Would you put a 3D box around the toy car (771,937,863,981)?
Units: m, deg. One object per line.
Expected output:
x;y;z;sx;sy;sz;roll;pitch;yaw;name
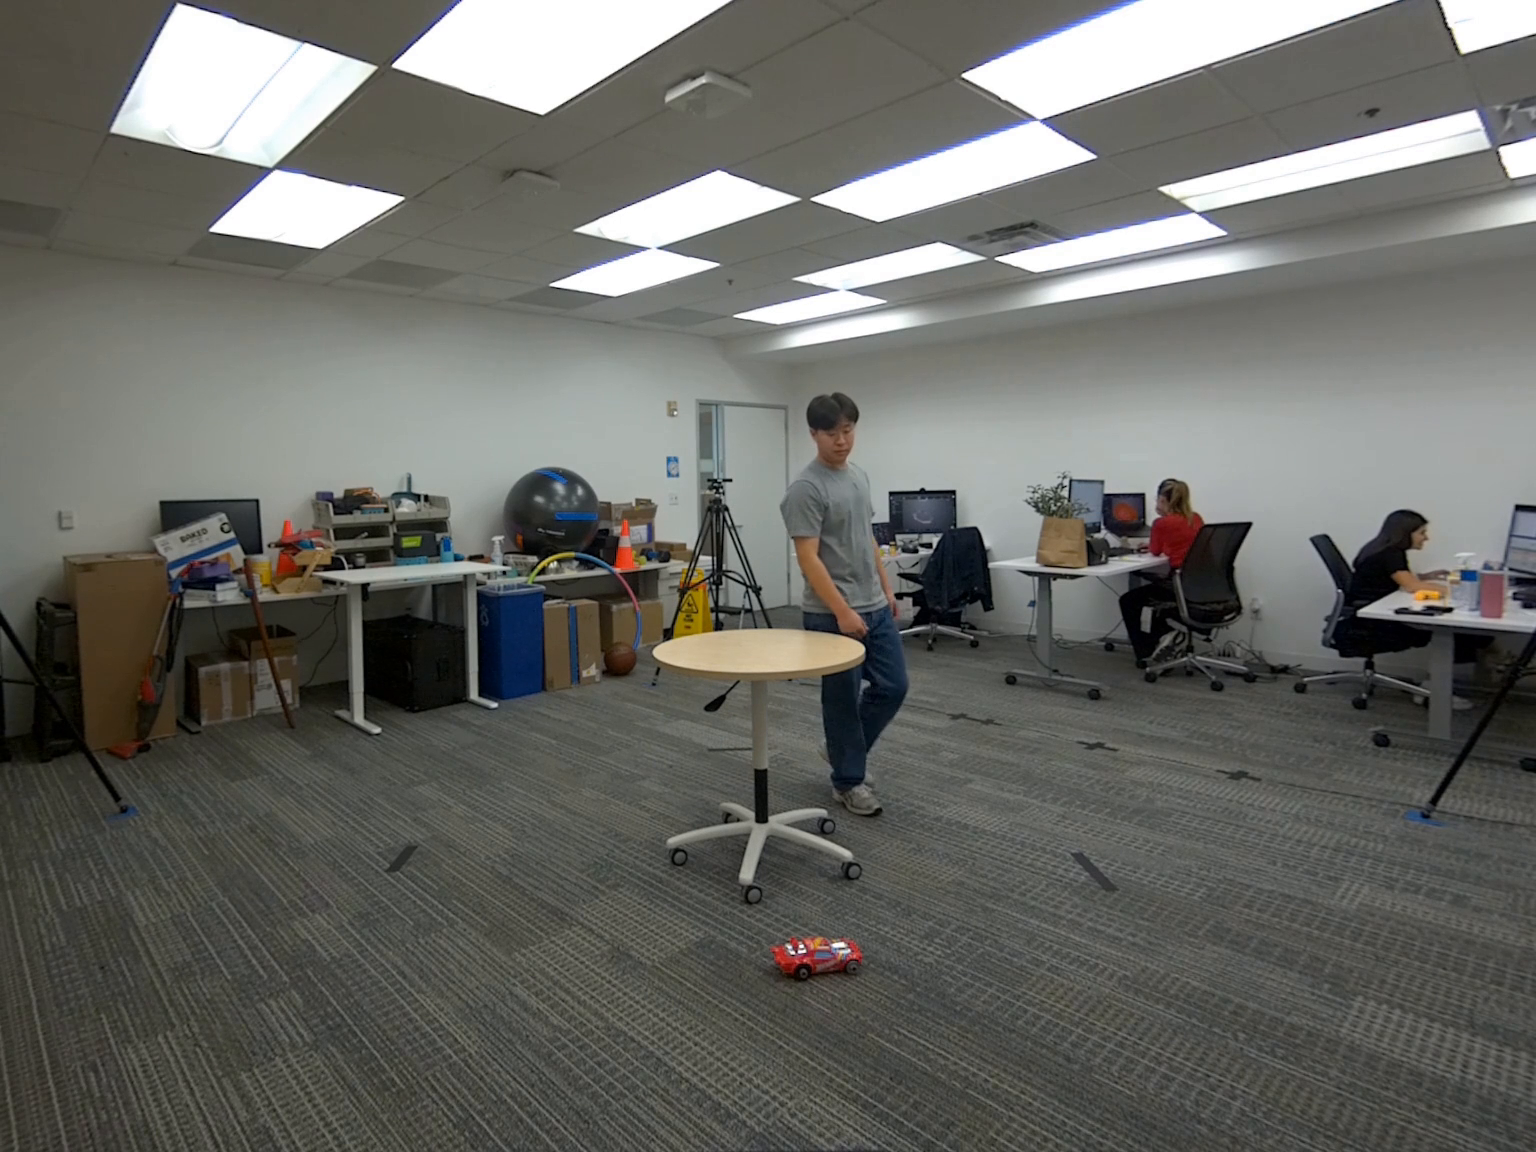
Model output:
0.140;1.090;2.433;0.251;0.083;0.132;9;3;-11;toy car
